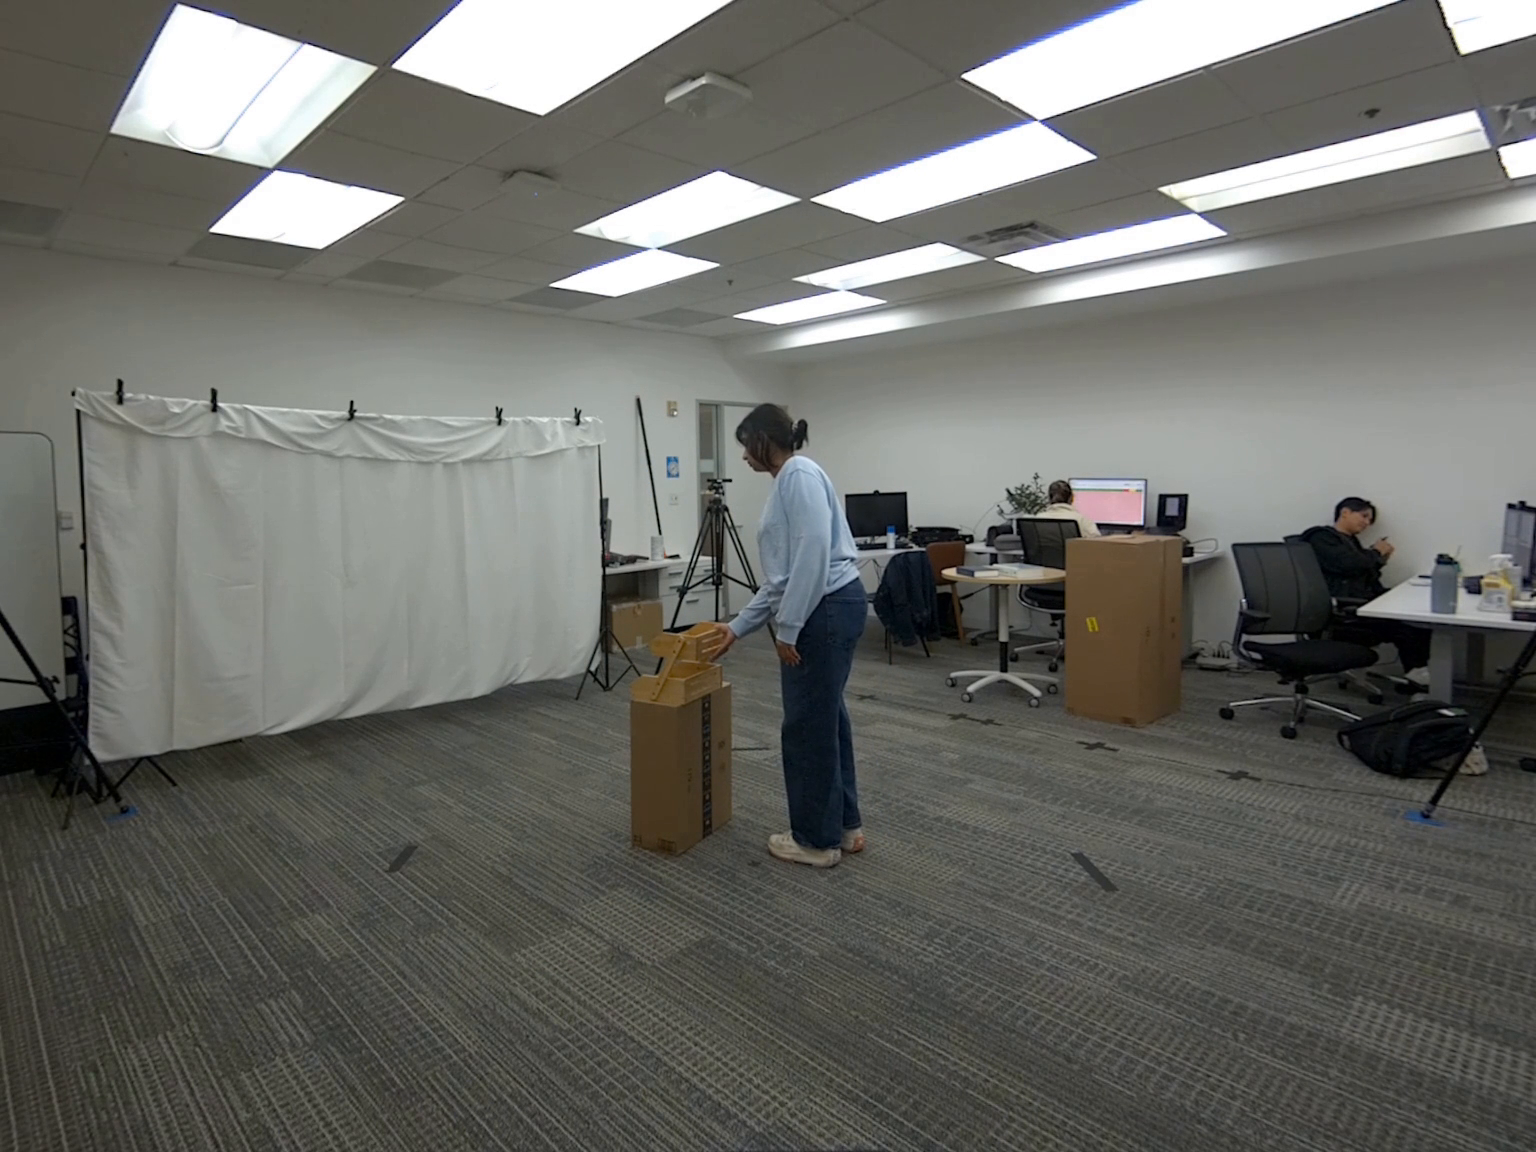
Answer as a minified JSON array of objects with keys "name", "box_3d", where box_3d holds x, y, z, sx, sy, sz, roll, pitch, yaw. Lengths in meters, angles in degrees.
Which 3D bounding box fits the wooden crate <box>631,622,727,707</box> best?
[{"name":"wooden crate","box_3d":[-0.335,0.325,3.341,0.309,0.272,0.318,3,6,26]}]
